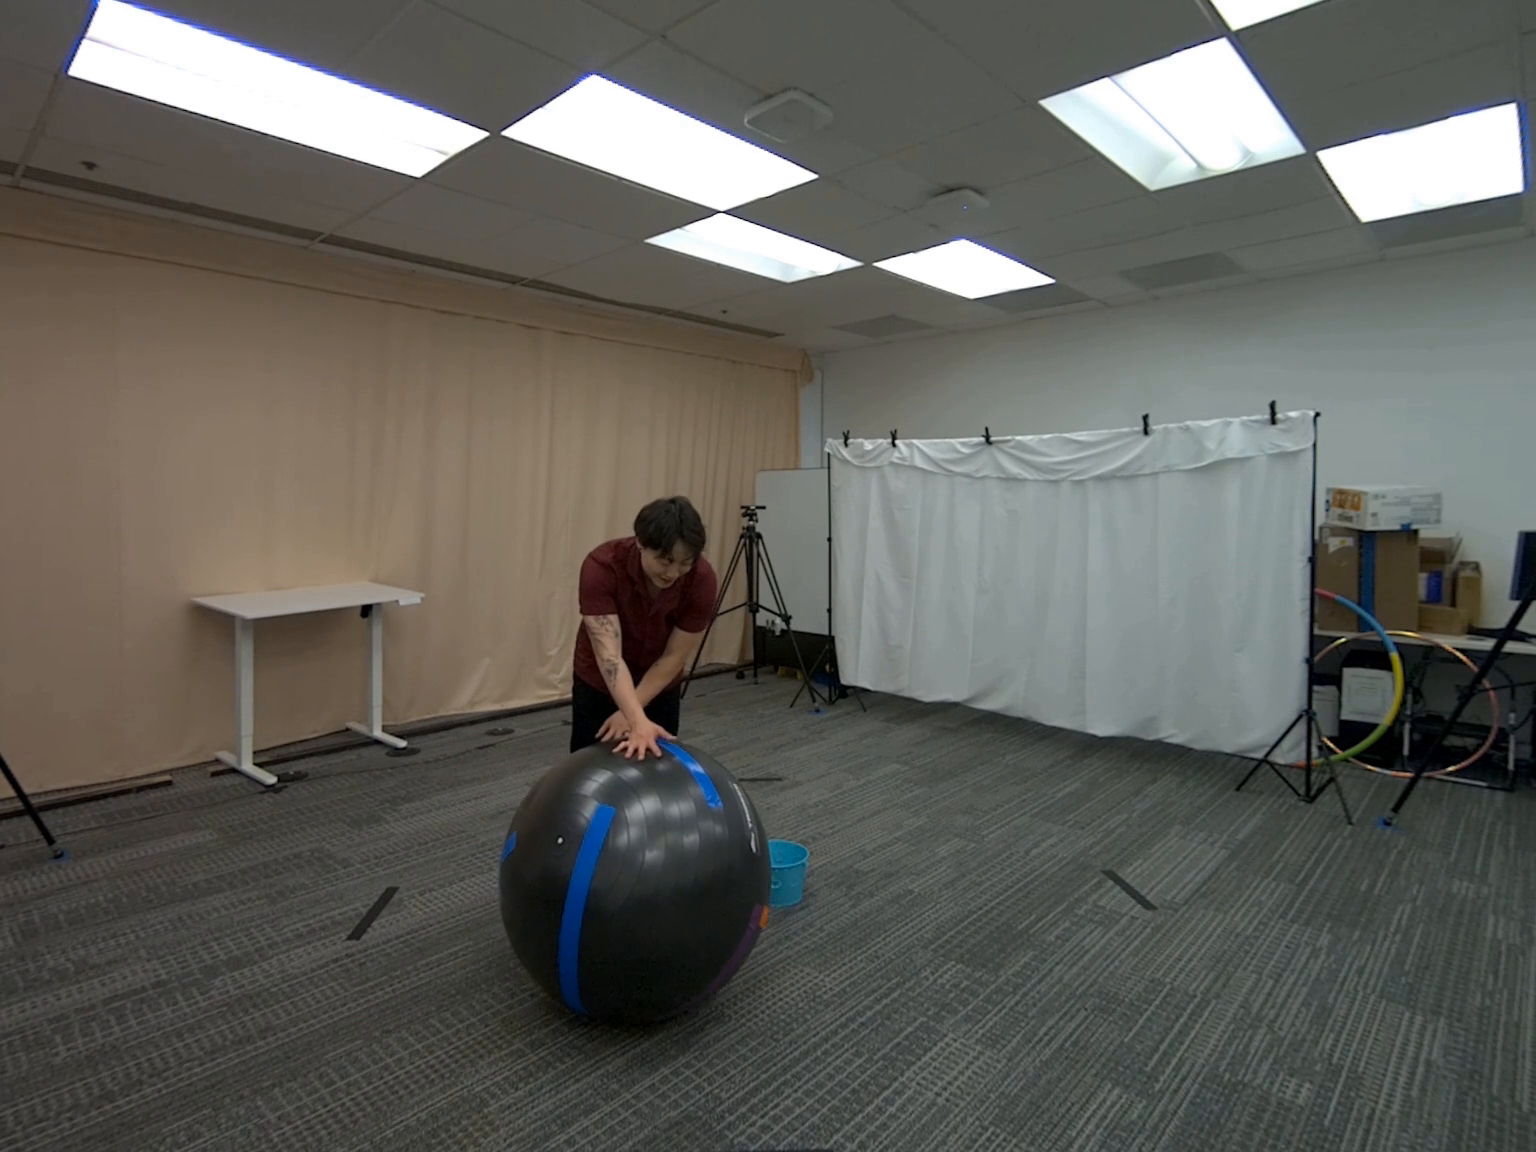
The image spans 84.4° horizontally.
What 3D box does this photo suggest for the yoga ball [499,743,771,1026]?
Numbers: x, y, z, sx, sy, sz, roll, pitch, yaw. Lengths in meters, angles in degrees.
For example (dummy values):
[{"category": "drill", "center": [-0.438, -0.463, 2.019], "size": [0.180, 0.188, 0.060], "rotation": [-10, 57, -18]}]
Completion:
[{"category": "yoga ball", "center": [-0.369, 0.853, 2.367], "size": [0.757, 0.756, 0.760], "rotation": [0, 4, -2]}]
